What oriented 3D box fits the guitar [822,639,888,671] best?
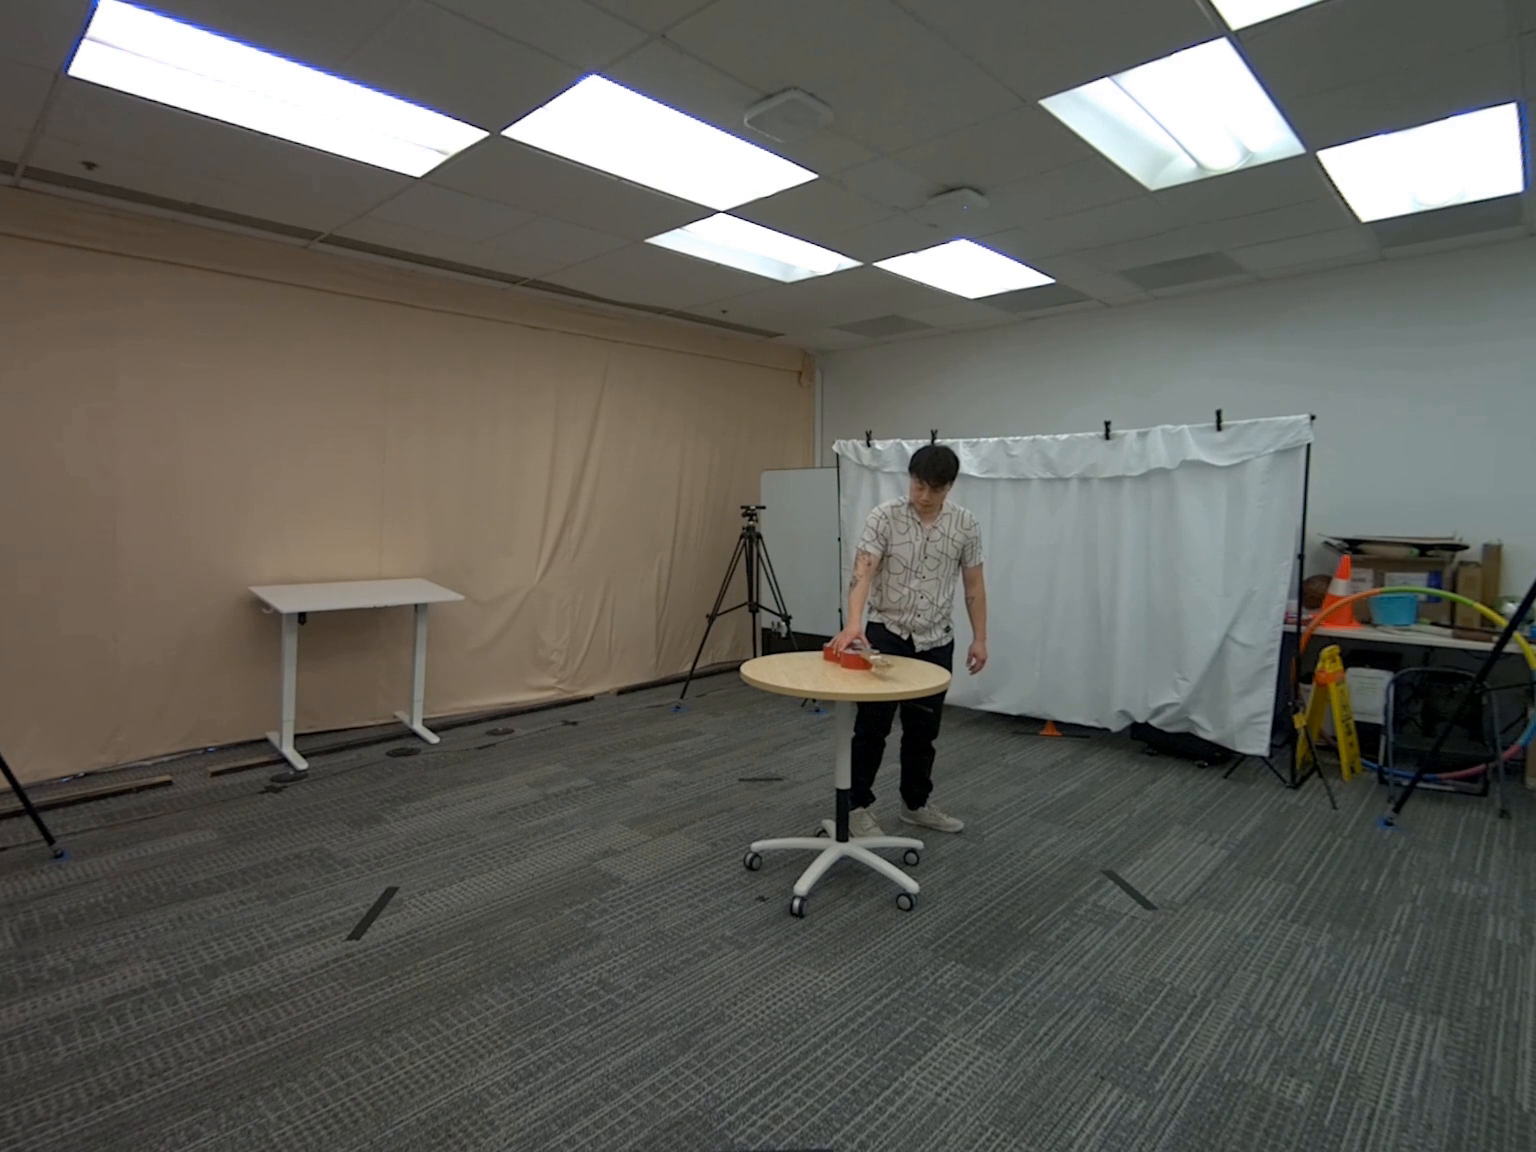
[{"bbox_3d":[0.335,0.307,3.146,0.192,0.070,0.500,1,3,-4],"label":"guitar"}]
